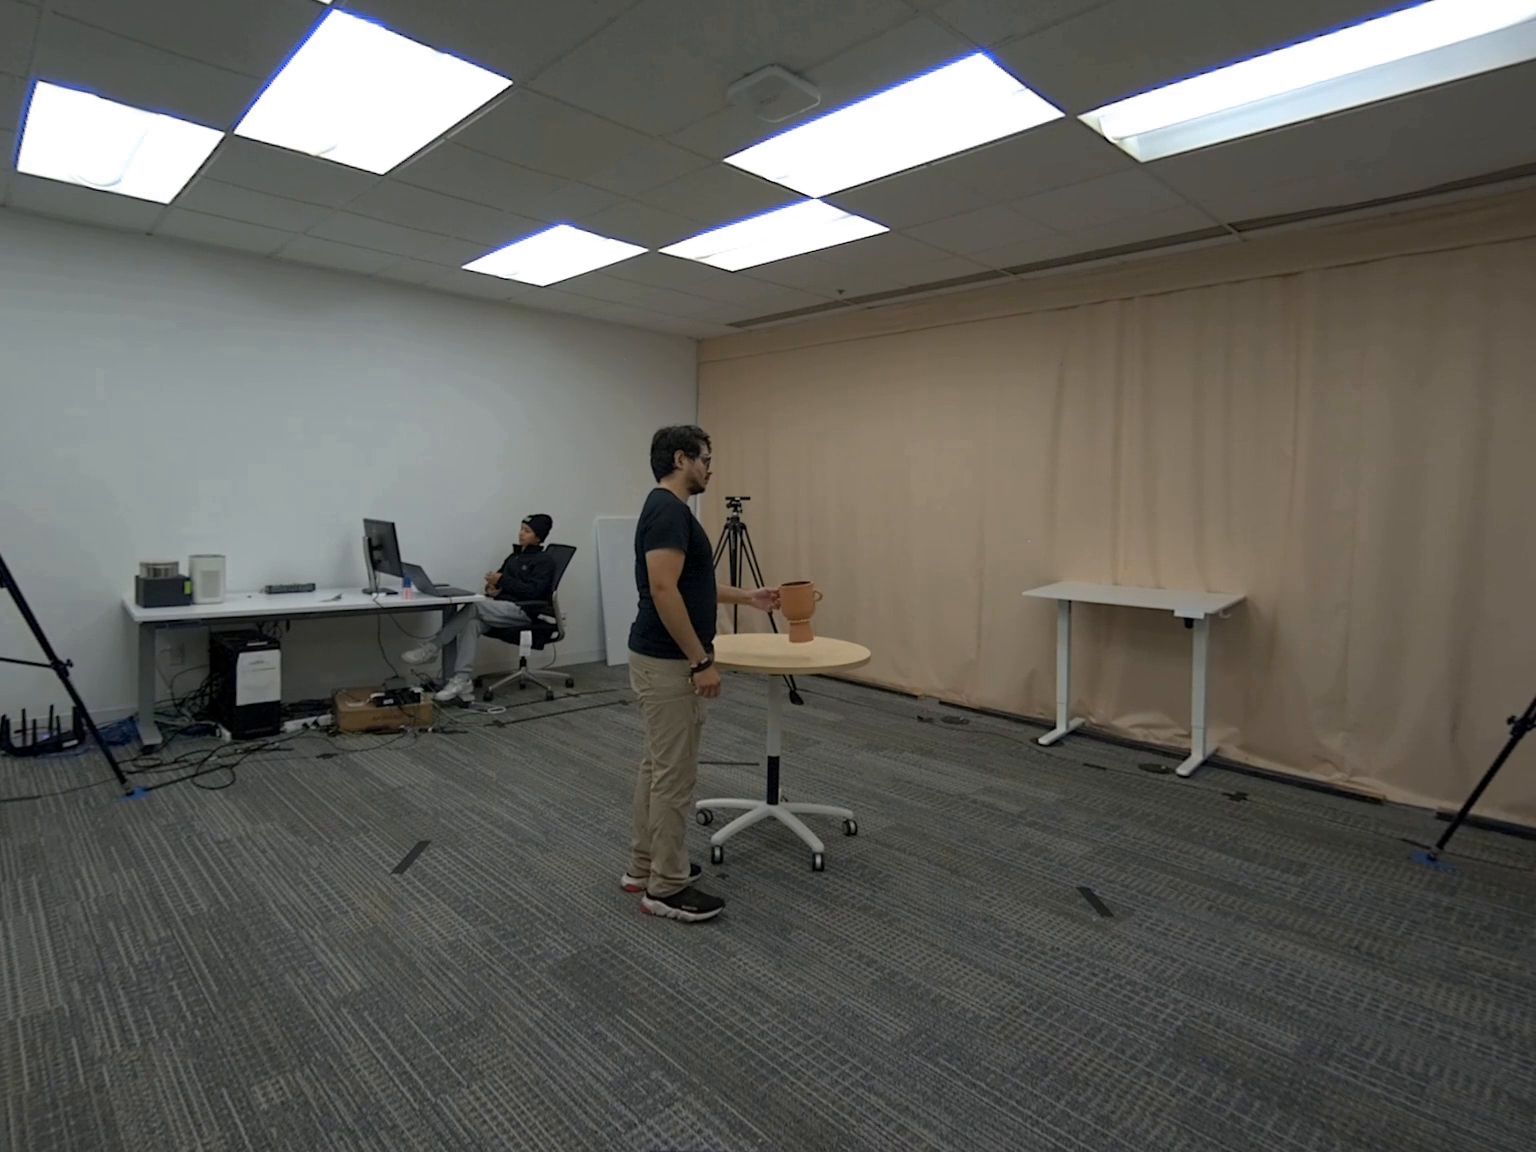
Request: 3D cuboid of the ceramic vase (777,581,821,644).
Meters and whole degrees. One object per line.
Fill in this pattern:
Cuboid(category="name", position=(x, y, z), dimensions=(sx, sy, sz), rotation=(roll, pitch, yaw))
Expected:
Cuboid(category="ceramic vase", position=(0.106, 0.140, 3.217), dimensions=(0.132, 0.219, 0.162), rotation=(-10, 7, -32))
